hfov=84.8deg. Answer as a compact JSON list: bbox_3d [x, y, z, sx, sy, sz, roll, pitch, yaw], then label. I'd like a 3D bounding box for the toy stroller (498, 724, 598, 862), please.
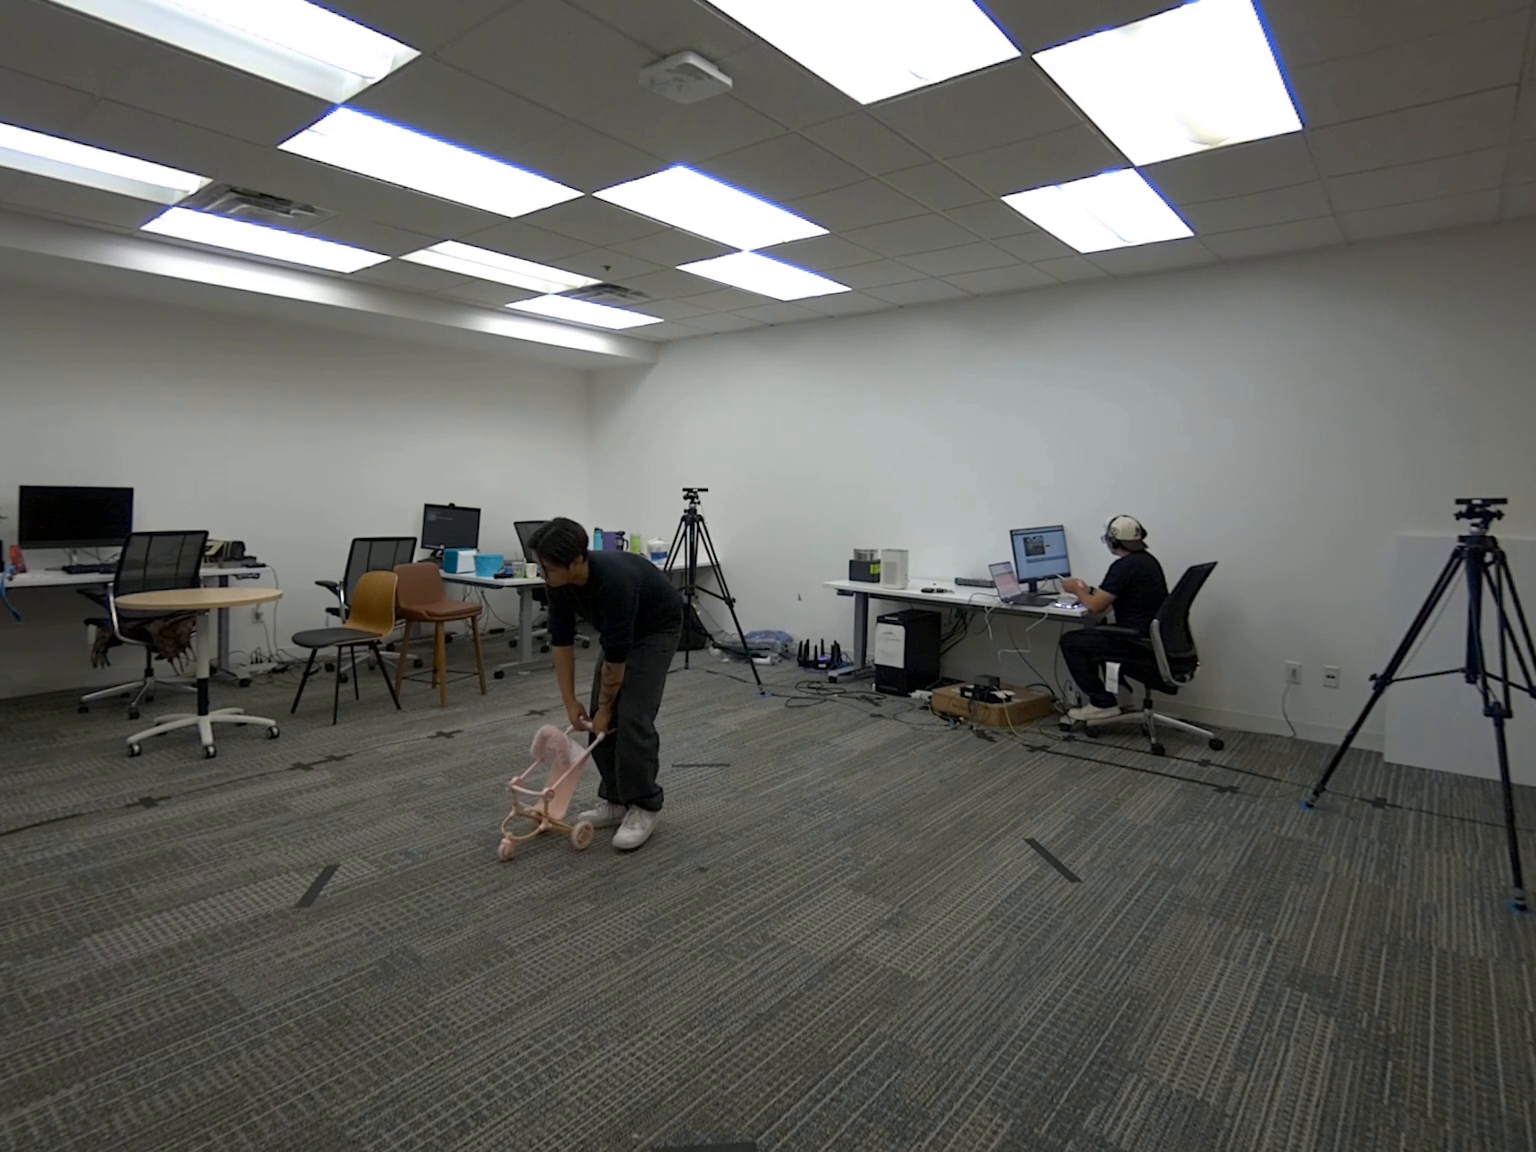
[{"bbox_3d":[-0.865,0.817,3.287,0.291,0.539,0.328,2,-12,42],"label":"toy stroller"}]
